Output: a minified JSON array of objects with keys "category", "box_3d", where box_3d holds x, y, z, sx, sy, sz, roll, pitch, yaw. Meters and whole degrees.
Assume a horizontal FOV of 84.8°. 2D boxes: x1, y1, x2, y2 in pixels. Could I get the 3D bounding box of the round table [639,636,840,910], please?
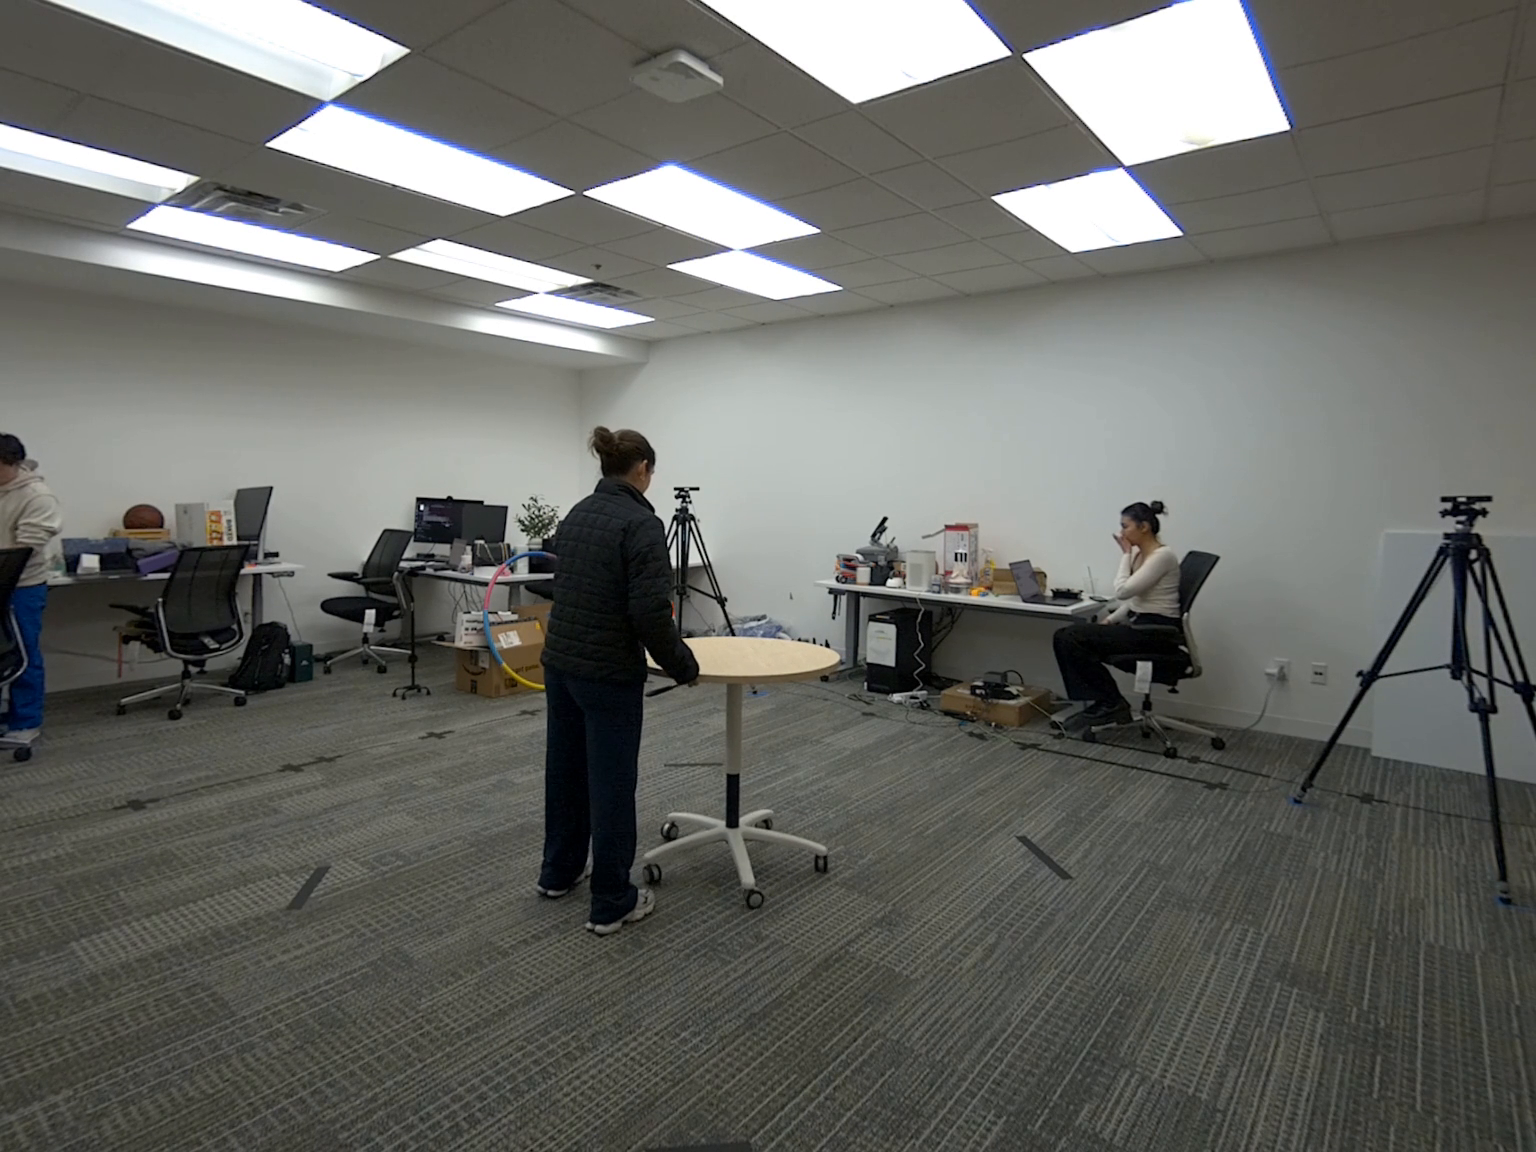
[{"category":"round table","box_3d":[-0.119,0.670,3.164,0.784,0.784,0.789,1,4,-2]}]
